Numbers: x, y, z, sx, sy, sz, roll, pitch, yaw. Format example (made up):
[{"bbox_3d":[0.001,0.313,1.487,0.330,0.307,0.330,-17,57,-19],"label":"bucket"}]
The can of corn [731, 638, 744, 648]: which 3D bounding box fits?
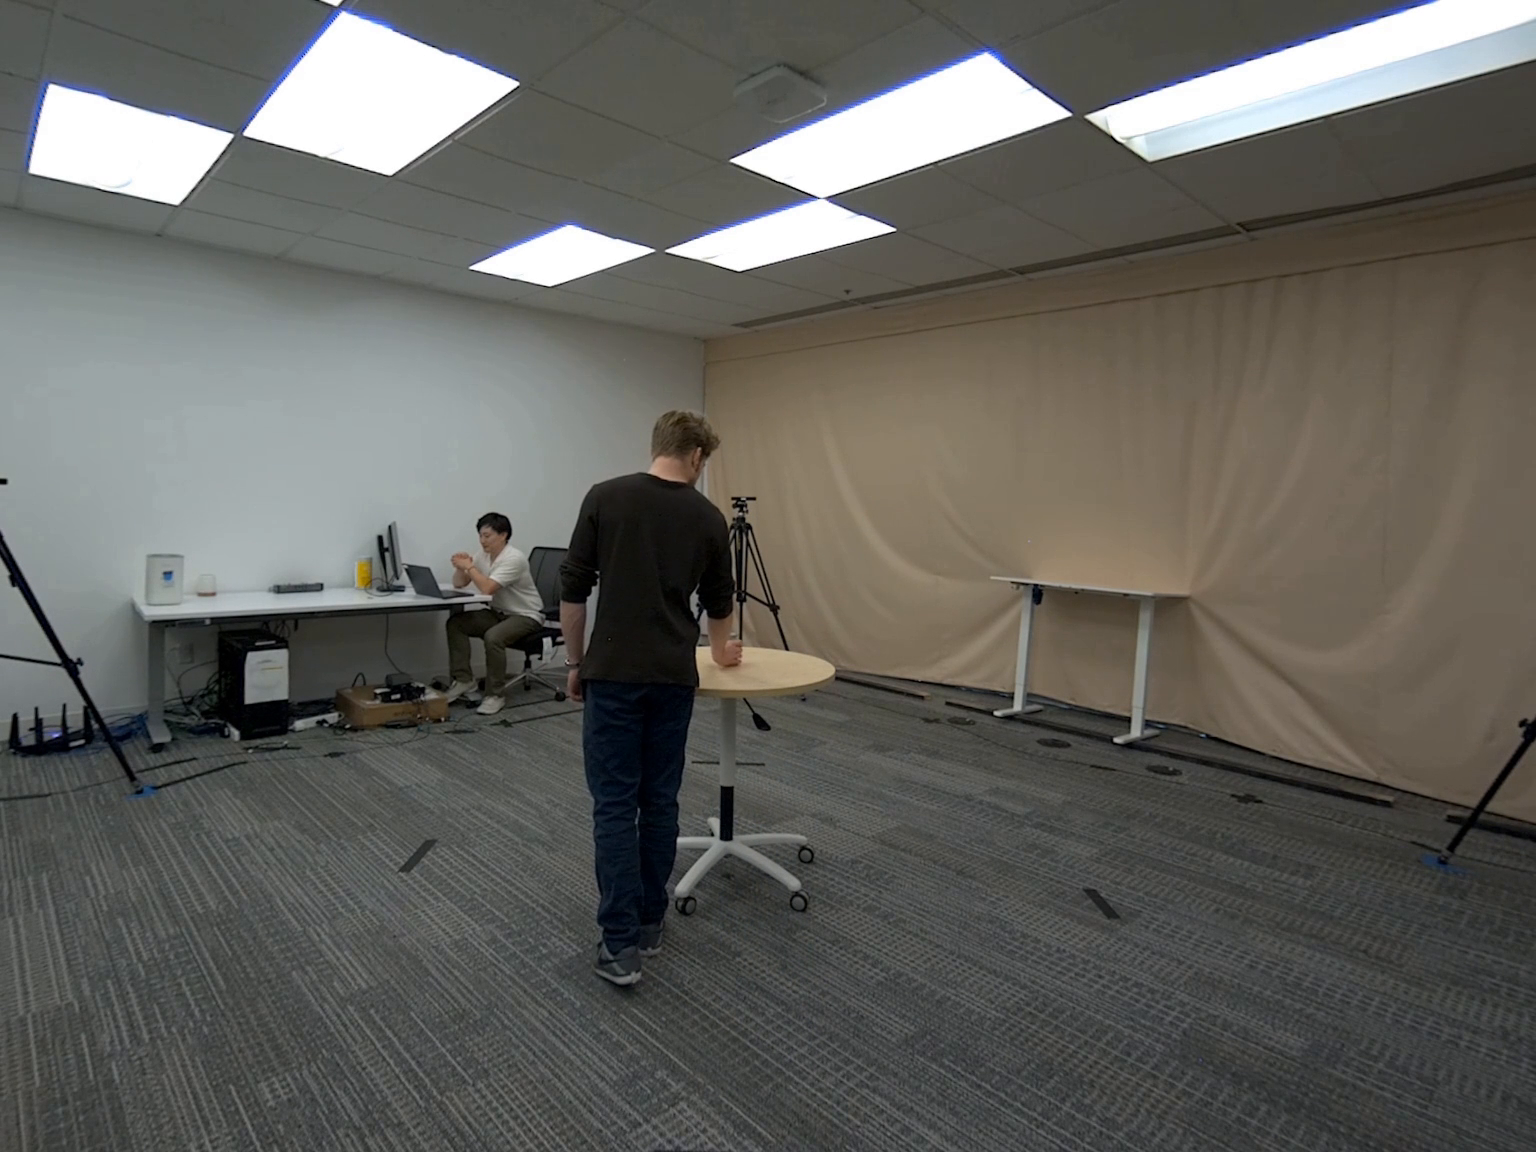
[{"bbox_3d":[-0.142,0.271,3.075,0.074,0.111,0.074,3,5,-2],"label":"can of corn"}]
